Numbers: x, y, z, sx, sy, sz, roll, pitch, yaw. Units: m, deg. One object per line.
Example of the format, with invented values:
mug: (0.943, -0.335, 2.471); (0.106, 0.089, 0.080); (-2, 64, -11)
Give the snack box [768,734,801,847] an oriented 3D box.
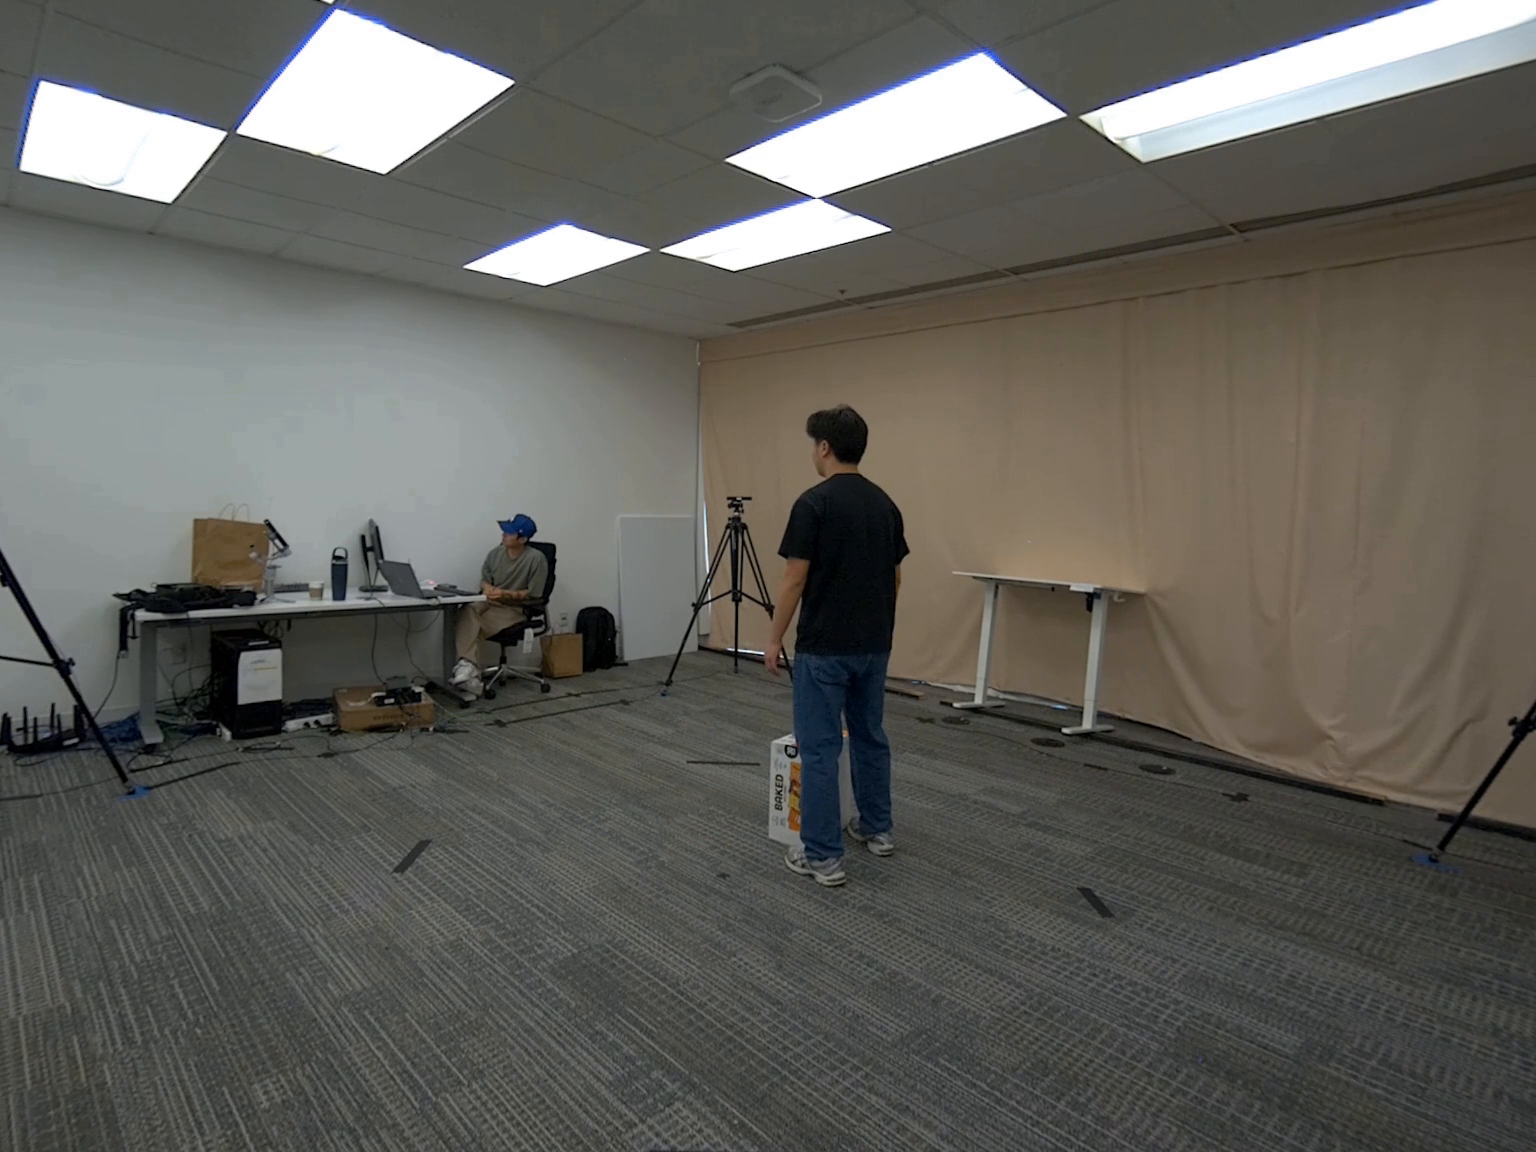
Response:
snack box: (0.183, 0.877, 3.529); (0.210, 0.404, 0.333); (3, 3, 34)
